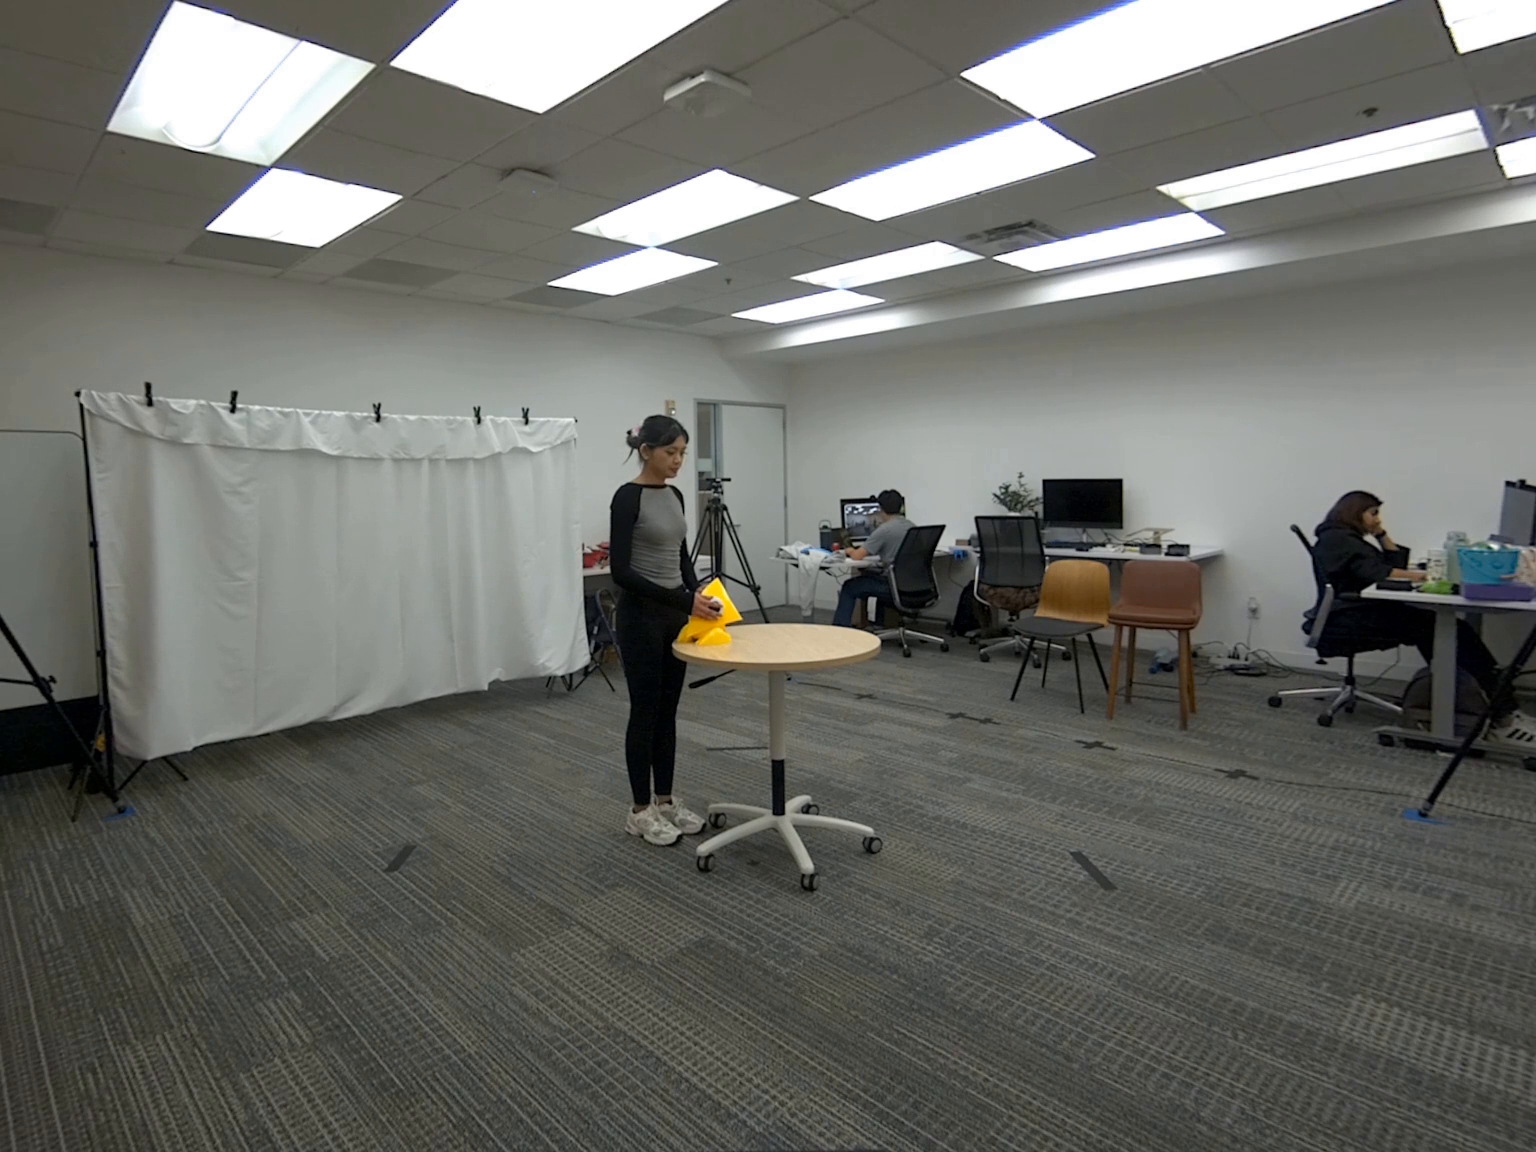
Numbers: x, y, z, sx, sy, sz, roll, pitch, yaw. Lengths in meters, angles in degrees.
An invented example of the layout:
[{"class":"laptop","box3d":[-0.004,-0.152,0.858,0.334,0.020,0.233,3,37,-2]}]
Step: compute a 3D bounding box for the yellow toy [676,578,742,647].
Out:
[{"class":"yellow toy","box3d":[-0.231,0.132,3.202,0.188,0.230,0.211,-5,6,-41]}]
